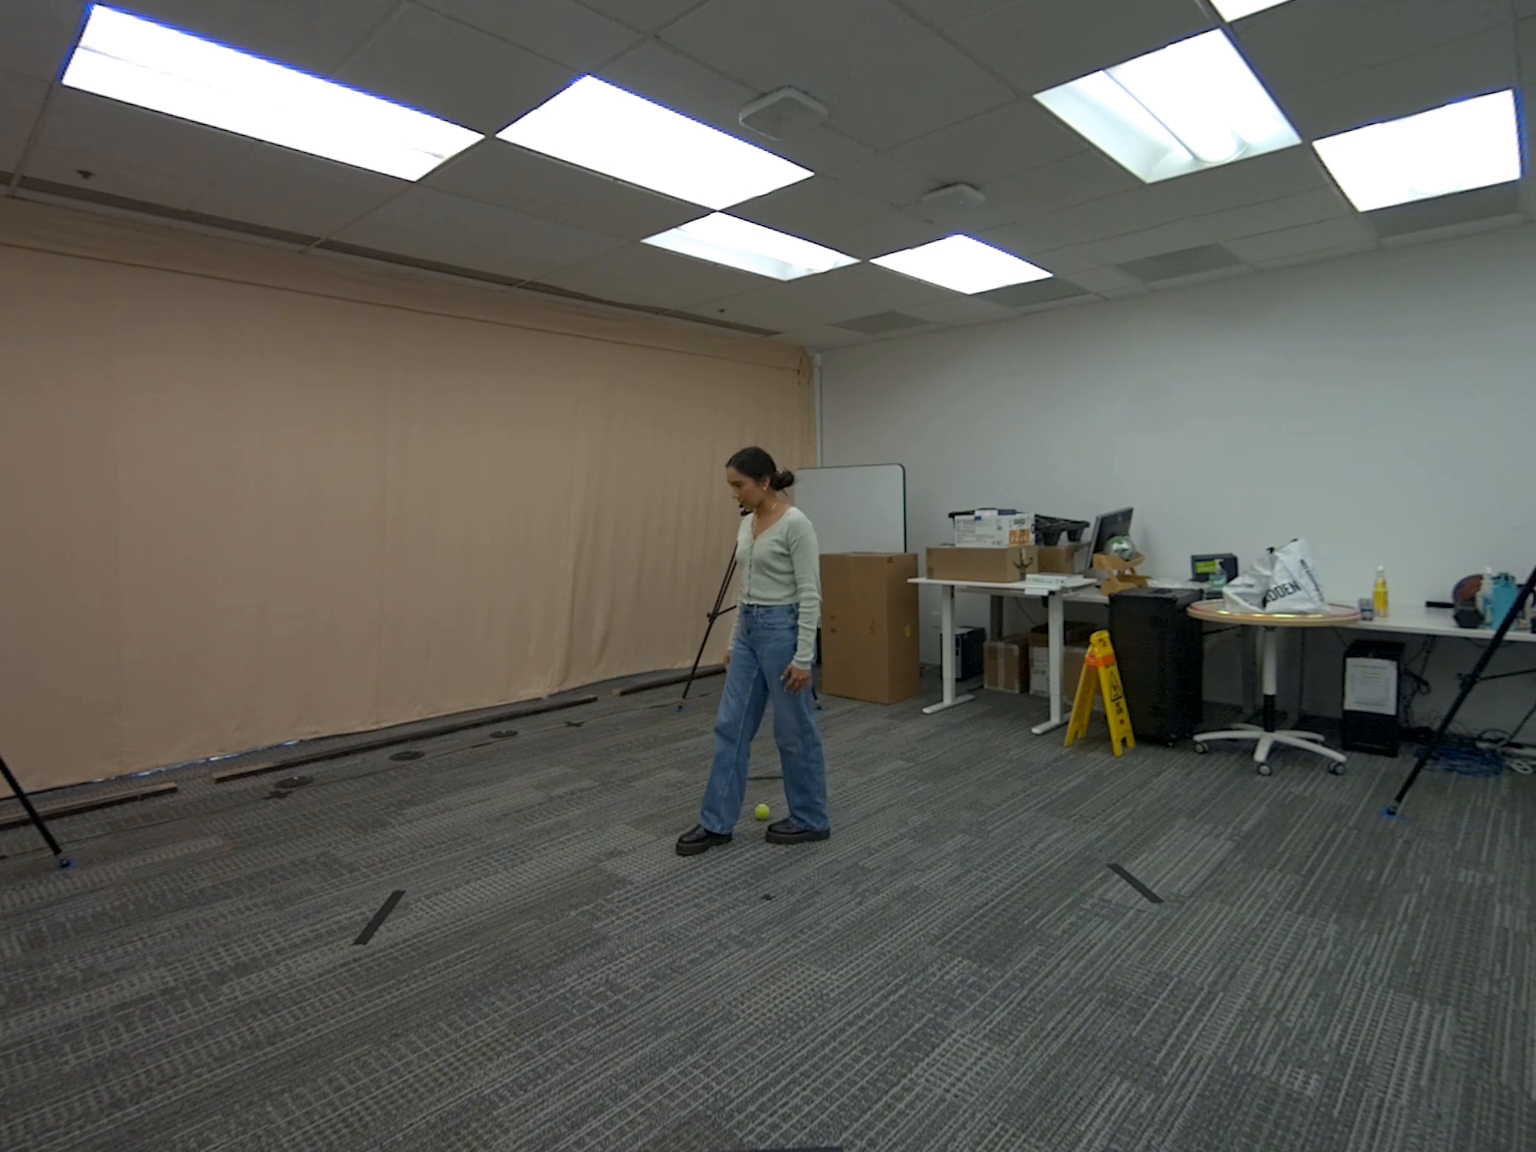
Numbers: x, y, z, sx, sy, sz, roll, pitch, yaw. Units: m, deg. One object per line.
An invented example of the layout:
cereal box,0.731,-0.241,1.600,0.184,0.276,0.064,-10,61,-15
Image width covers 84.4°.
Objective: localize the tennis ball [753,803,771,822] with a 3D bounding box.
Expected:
tennis ball,-0.027,1.028,3.724,0.066,0.066,0.067,-1,4,-2
